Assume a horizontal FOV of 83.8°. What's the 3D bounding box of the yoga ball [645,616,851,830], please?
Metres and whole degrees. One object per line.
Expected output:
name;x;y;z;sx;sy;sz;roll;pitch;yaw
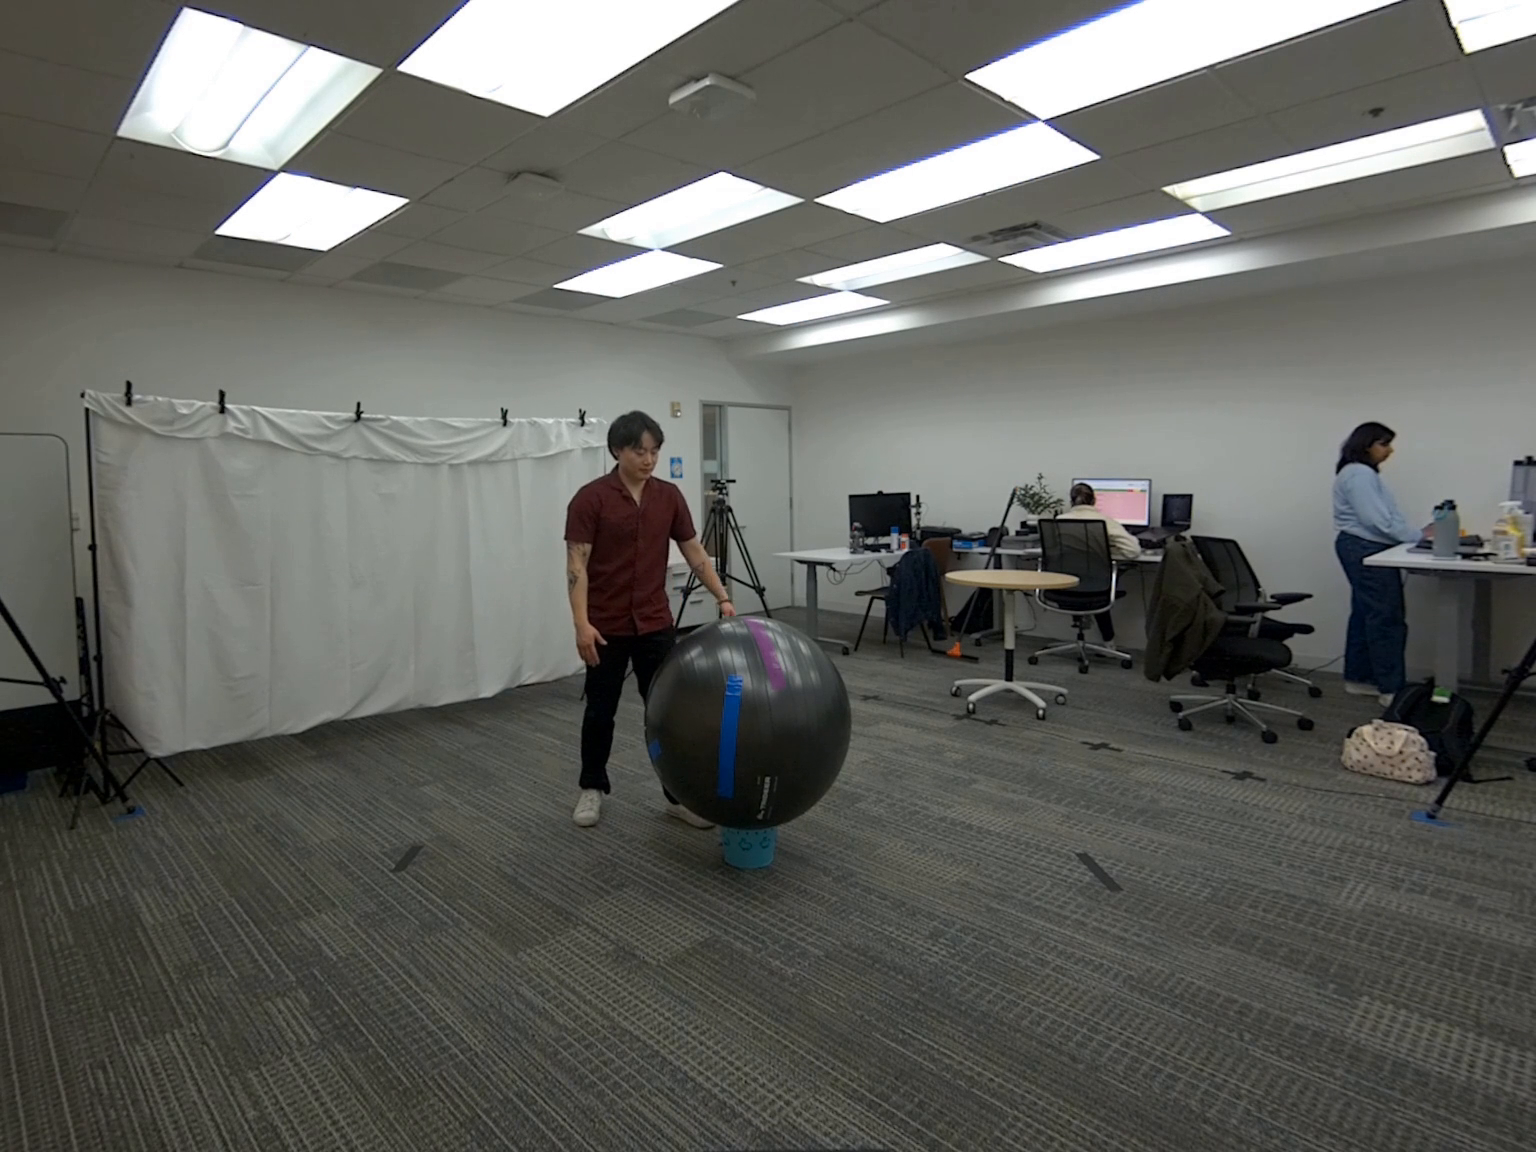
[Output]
yoga ball;-0.071;0.534;3.130;0.757;0.755;0.762;-1;5;-2
